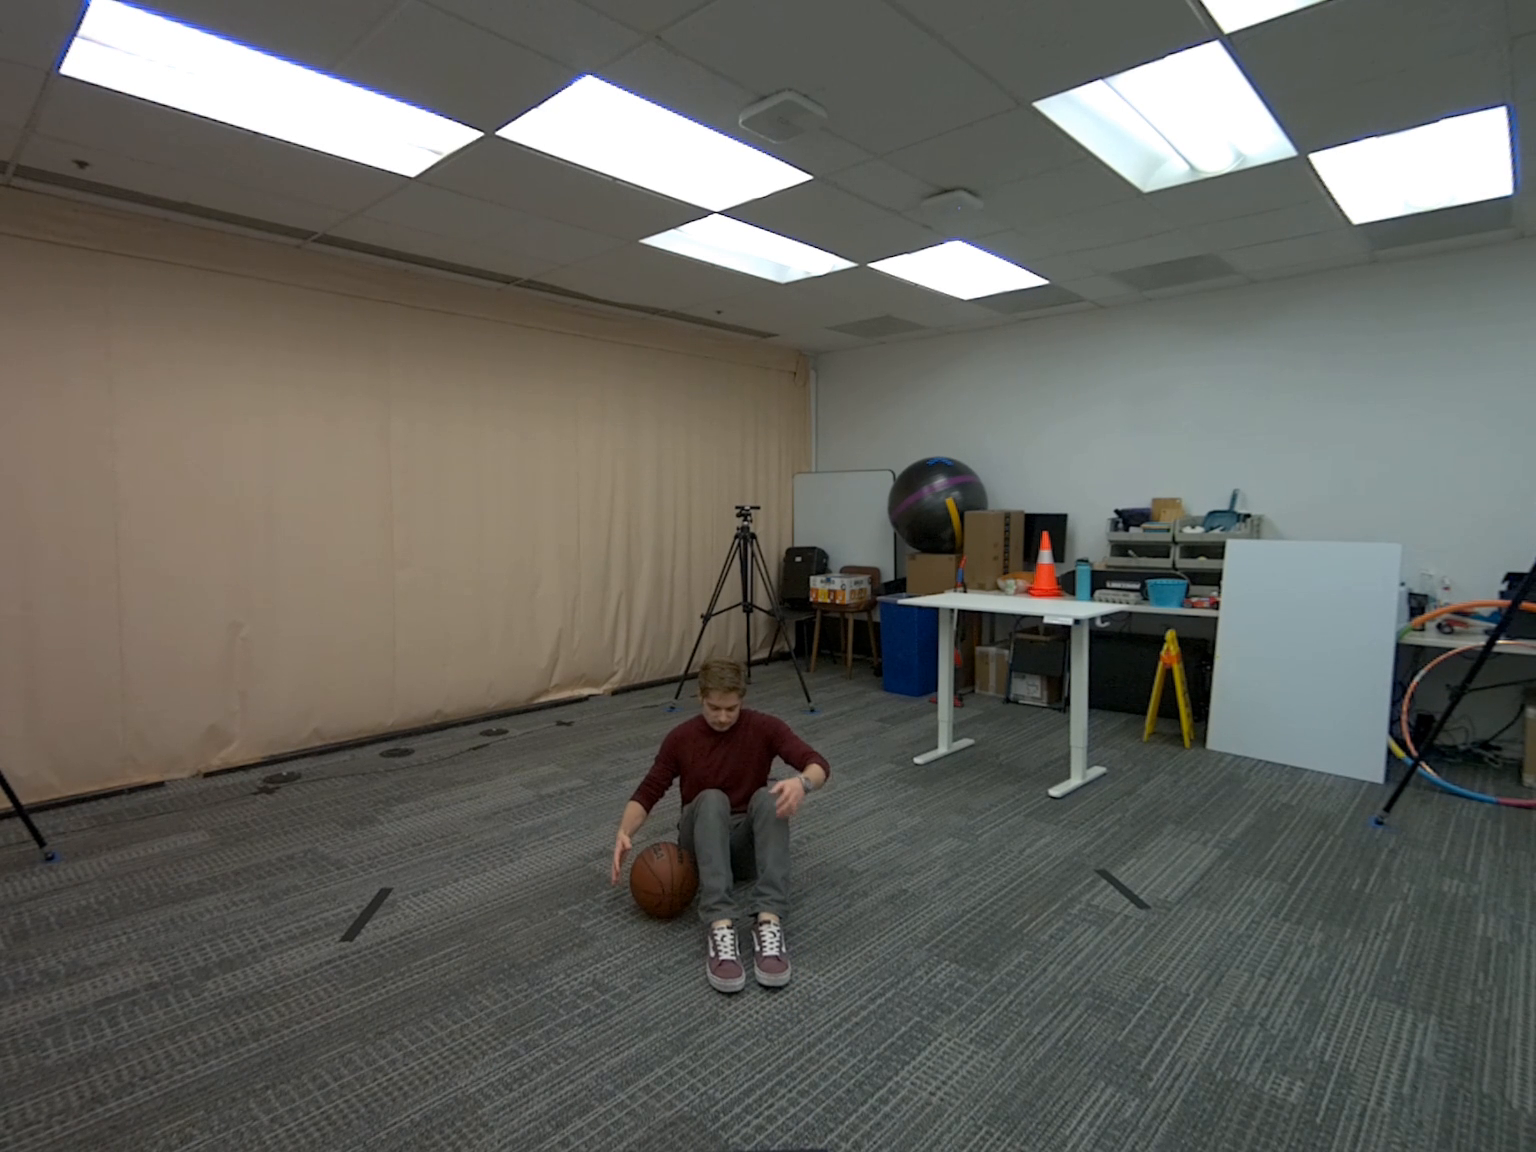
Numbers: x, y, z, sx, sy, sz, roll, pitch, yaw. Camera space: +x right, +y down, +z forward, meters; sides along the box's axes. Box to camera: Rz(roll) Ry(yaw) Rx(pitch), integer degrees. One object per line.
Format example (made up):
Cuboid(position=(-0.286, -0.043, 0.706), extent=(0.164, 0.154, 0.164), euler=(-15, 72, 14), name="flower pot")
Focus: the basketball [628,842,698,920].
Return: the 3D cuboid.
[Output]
Cuboid(position=(-0.356, 1.030, 2.884), extent=(0.236, 0.235, 0.237), euler=(0, 4, -2), name="basketball")
